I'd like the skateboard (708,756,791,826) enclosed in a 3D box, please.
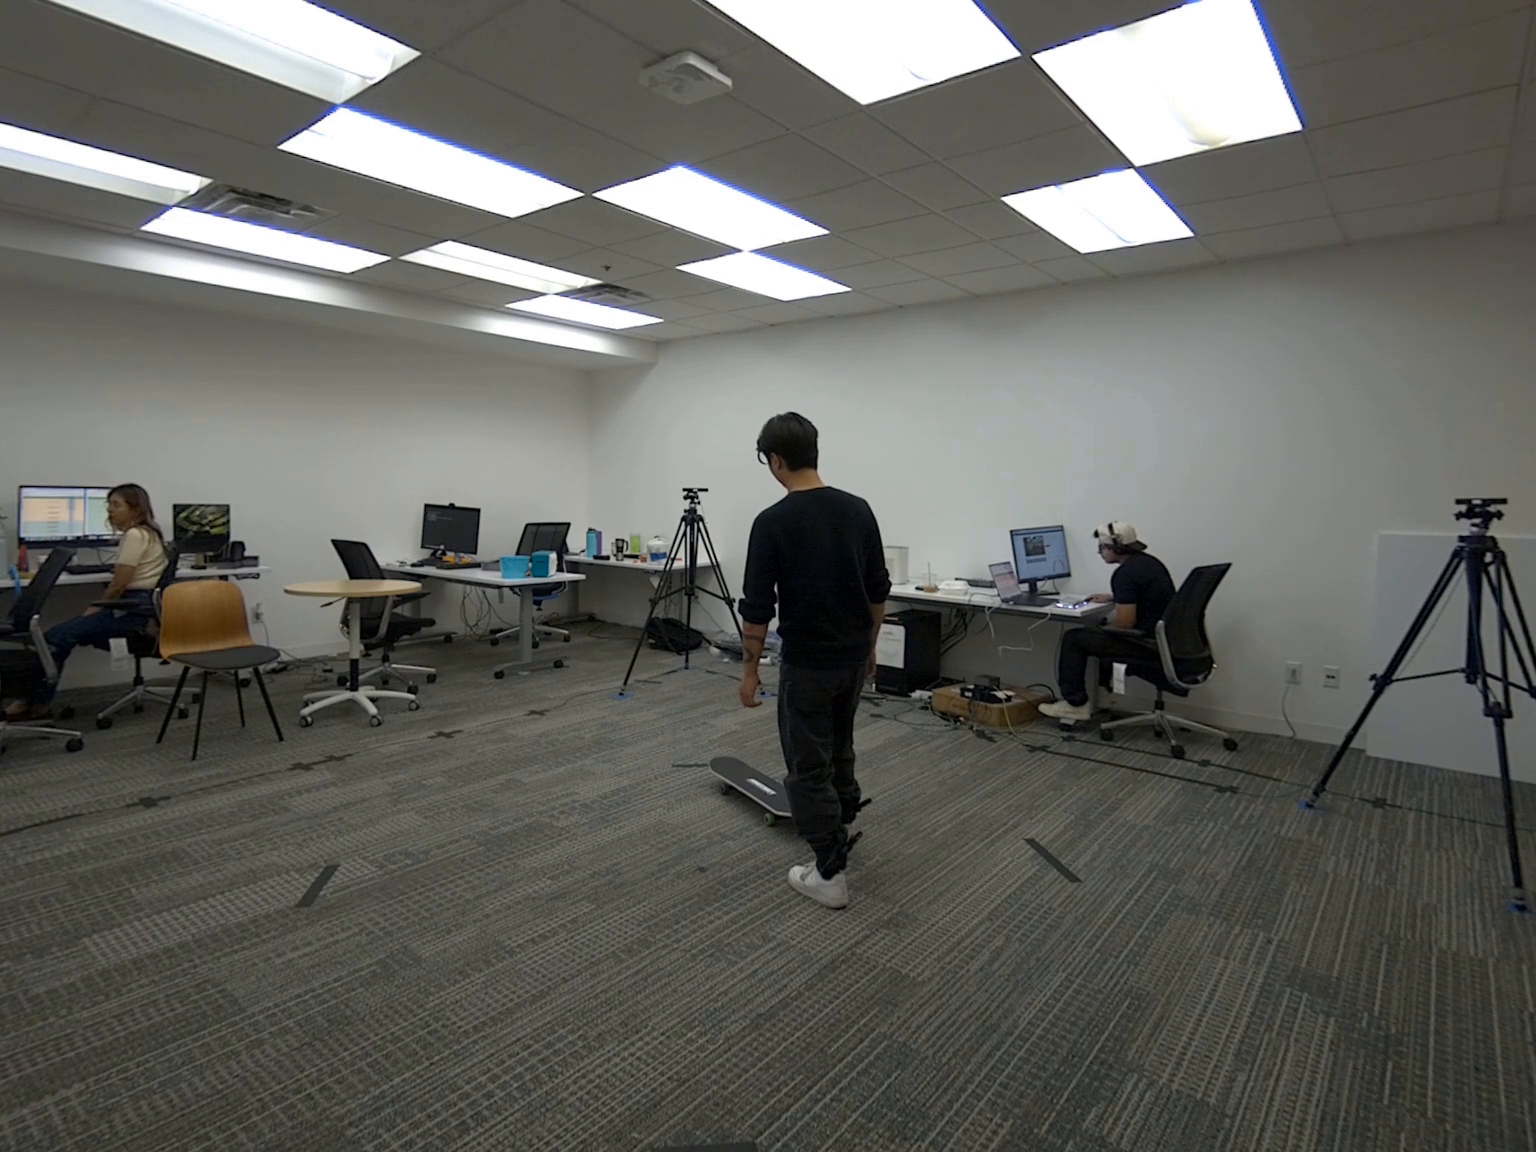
[{"bbox_3d":[-0.041,0.954,3.741,0.188,0.110,0.810,-2,7,-30],"label":"skateboard"}]
